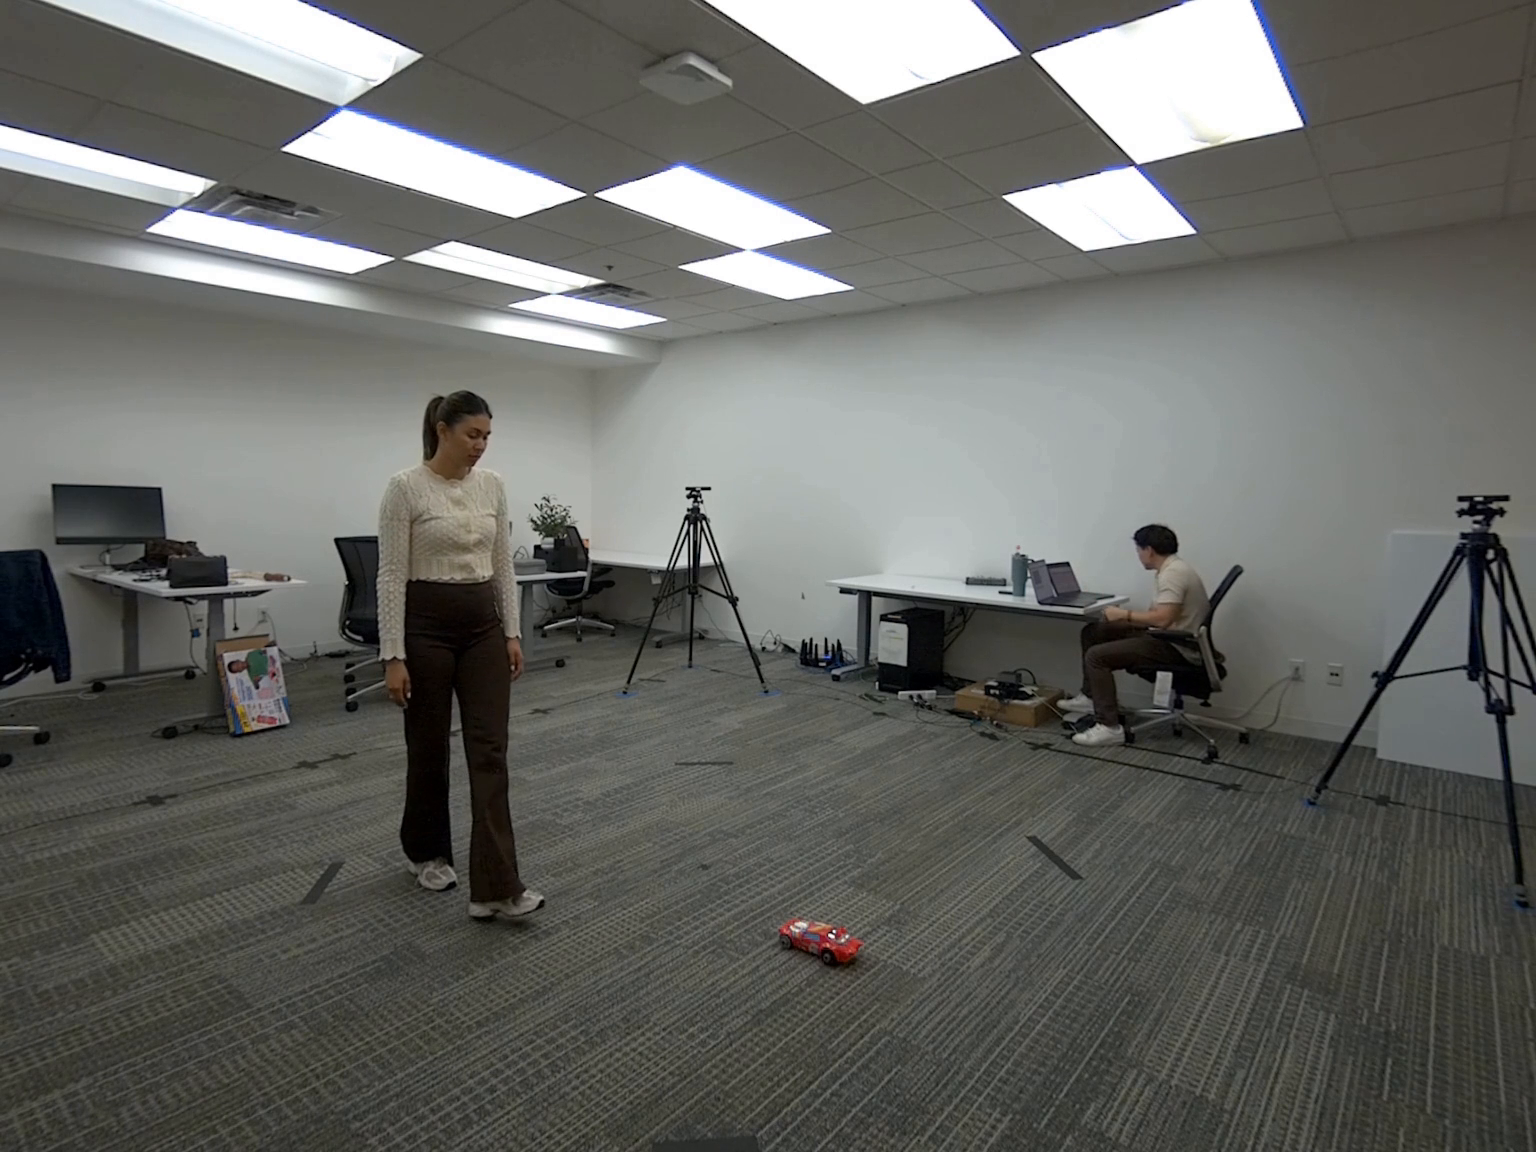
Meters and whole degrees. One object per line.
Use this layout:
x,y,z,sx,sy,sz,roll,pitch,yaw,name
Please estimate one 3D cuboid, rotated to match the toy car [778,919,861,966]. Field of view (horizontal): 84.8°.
0.159,1.096,2.555,0.261,0.083,0.127,-7,0,35,toy car
